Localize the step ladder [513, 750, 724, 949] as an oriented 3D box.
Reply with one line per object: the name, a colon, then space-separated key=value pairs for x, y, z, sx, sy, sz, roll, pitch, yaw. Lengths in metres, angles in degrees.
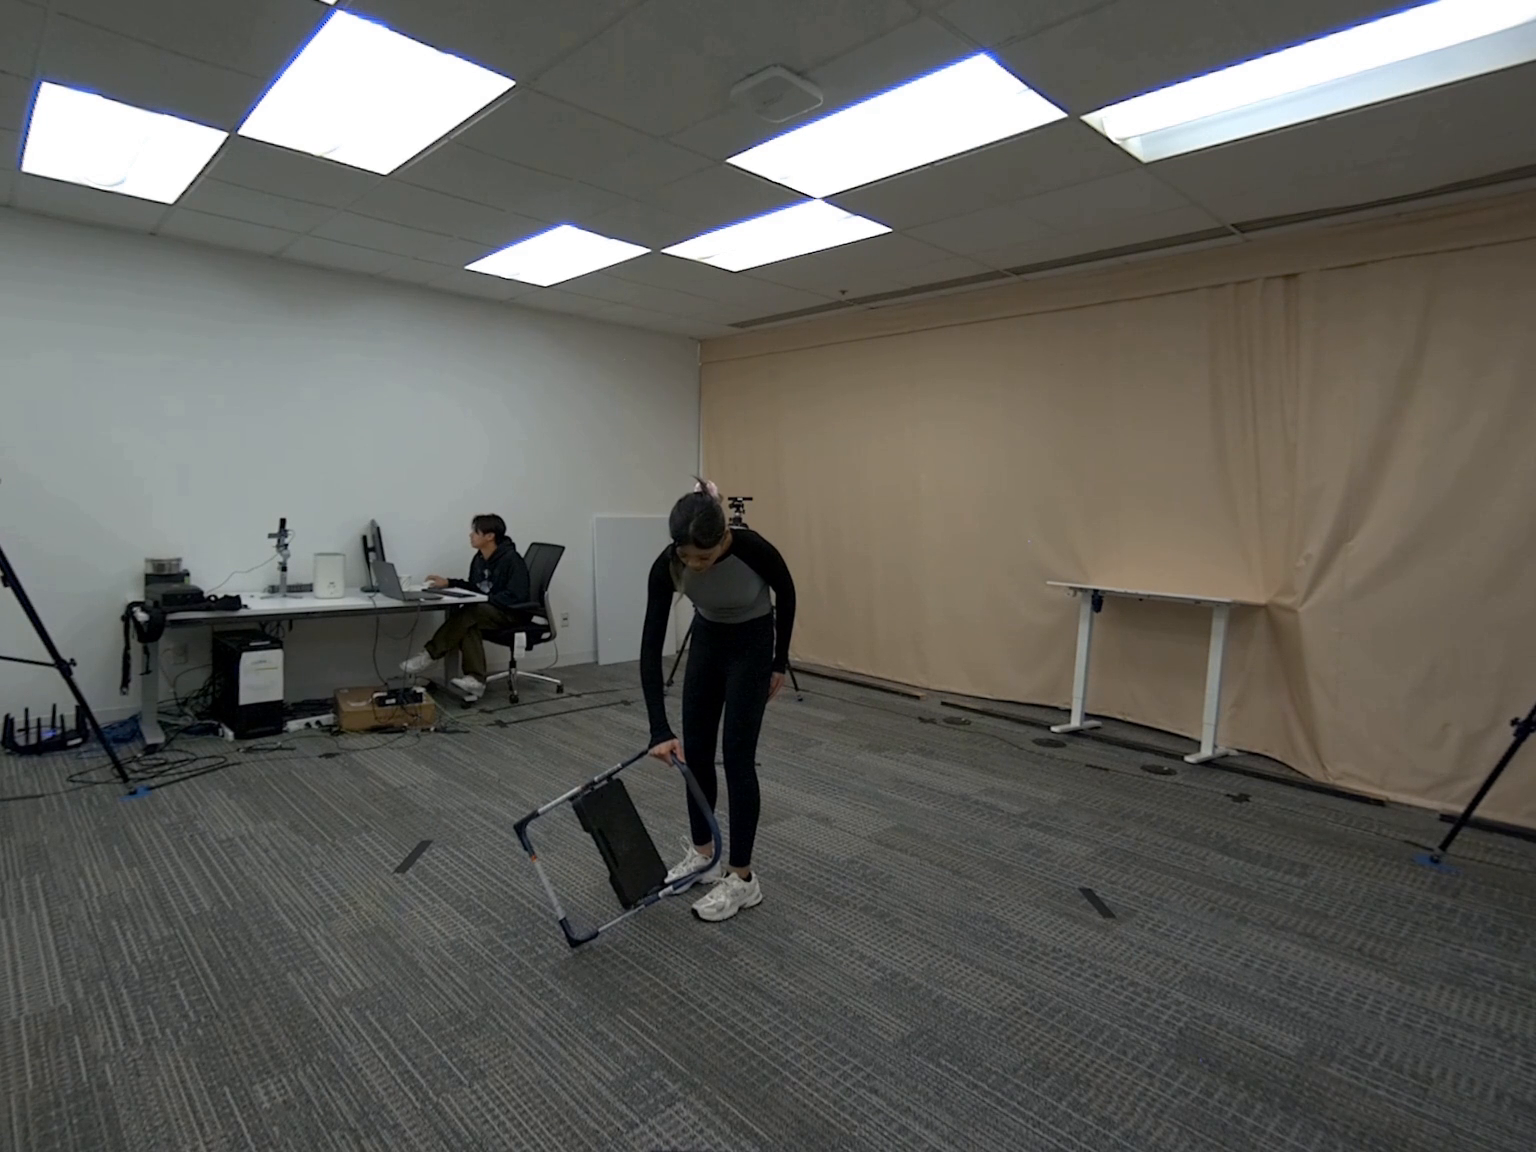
step ladder: x=-0.414 y=0.796 z=2.633 sx=0.609 sy=0.435 sz=0.344 roll=-34 pitch=-10 yaw=21
